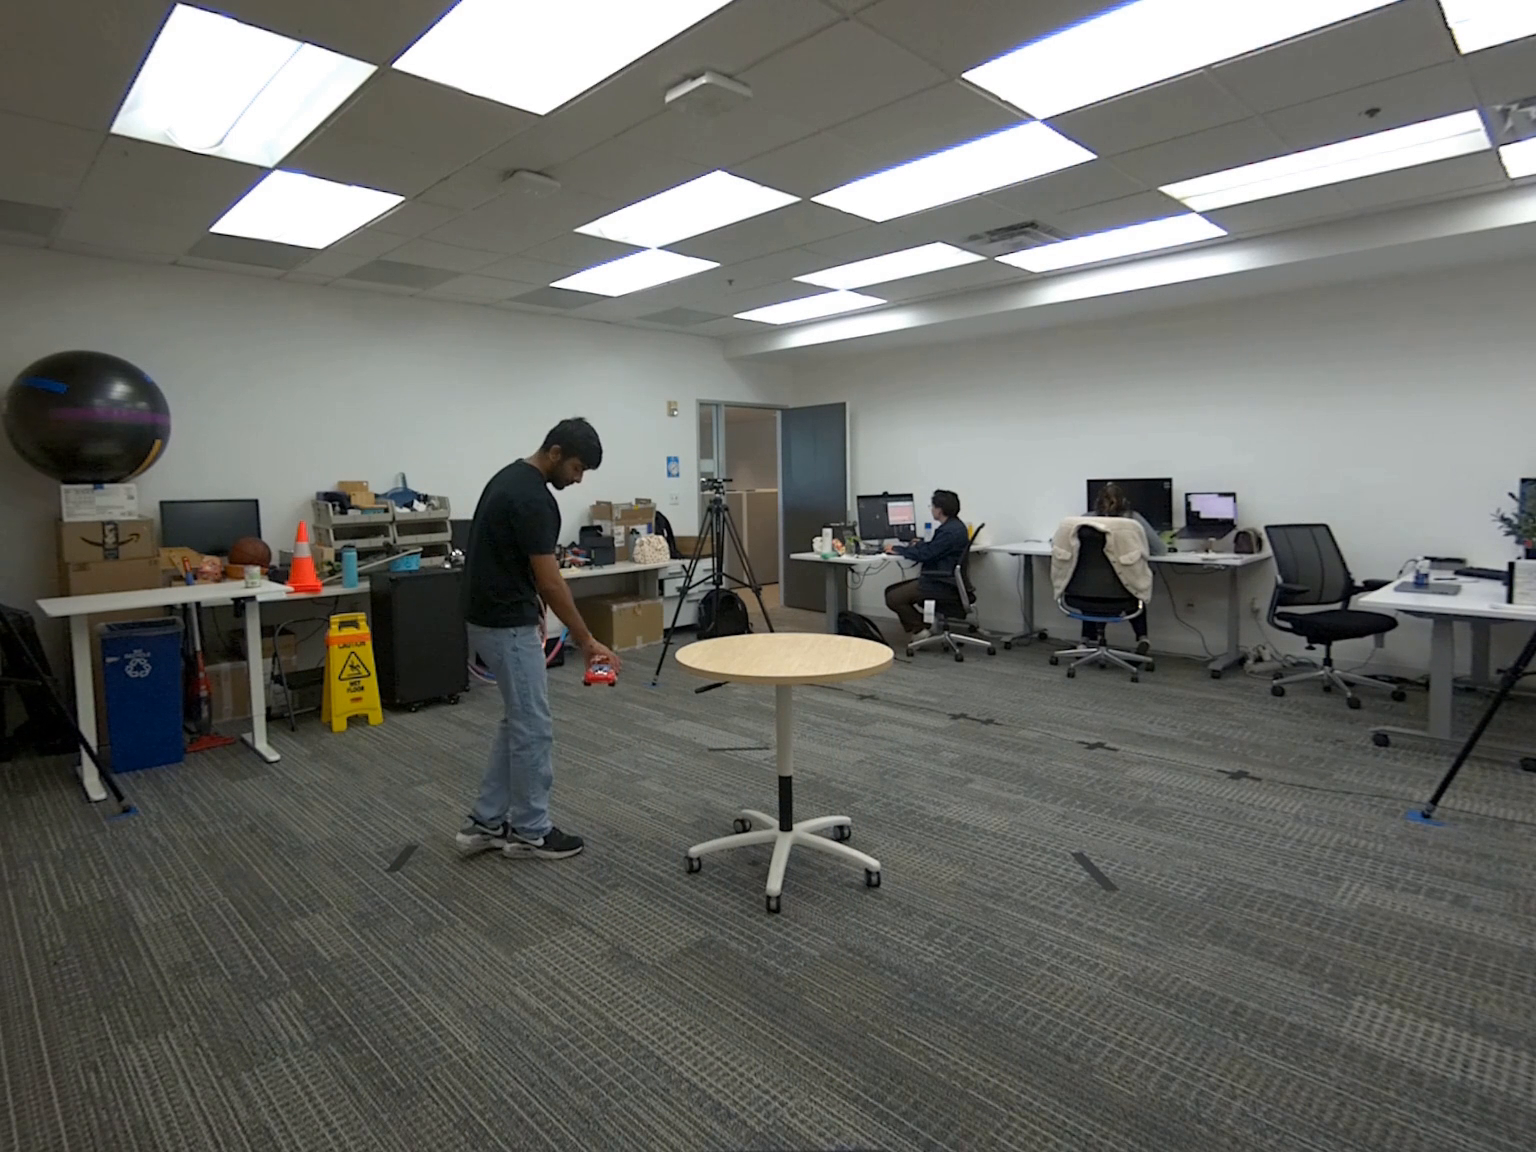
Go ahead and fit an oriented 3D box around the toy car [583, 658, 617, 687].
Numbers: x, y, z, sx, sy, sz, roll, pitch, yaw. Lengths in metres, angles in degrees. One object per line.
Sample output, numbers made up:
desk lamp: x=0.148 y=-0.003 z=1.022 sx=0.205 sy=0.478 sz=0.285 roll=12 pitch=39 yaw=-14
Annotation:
toy car: x=-0.618 y=0.353 z=3.178 sx=0.130 sy=0.082 sz=0.259 roll=0 pitch=20 yaw=-4
